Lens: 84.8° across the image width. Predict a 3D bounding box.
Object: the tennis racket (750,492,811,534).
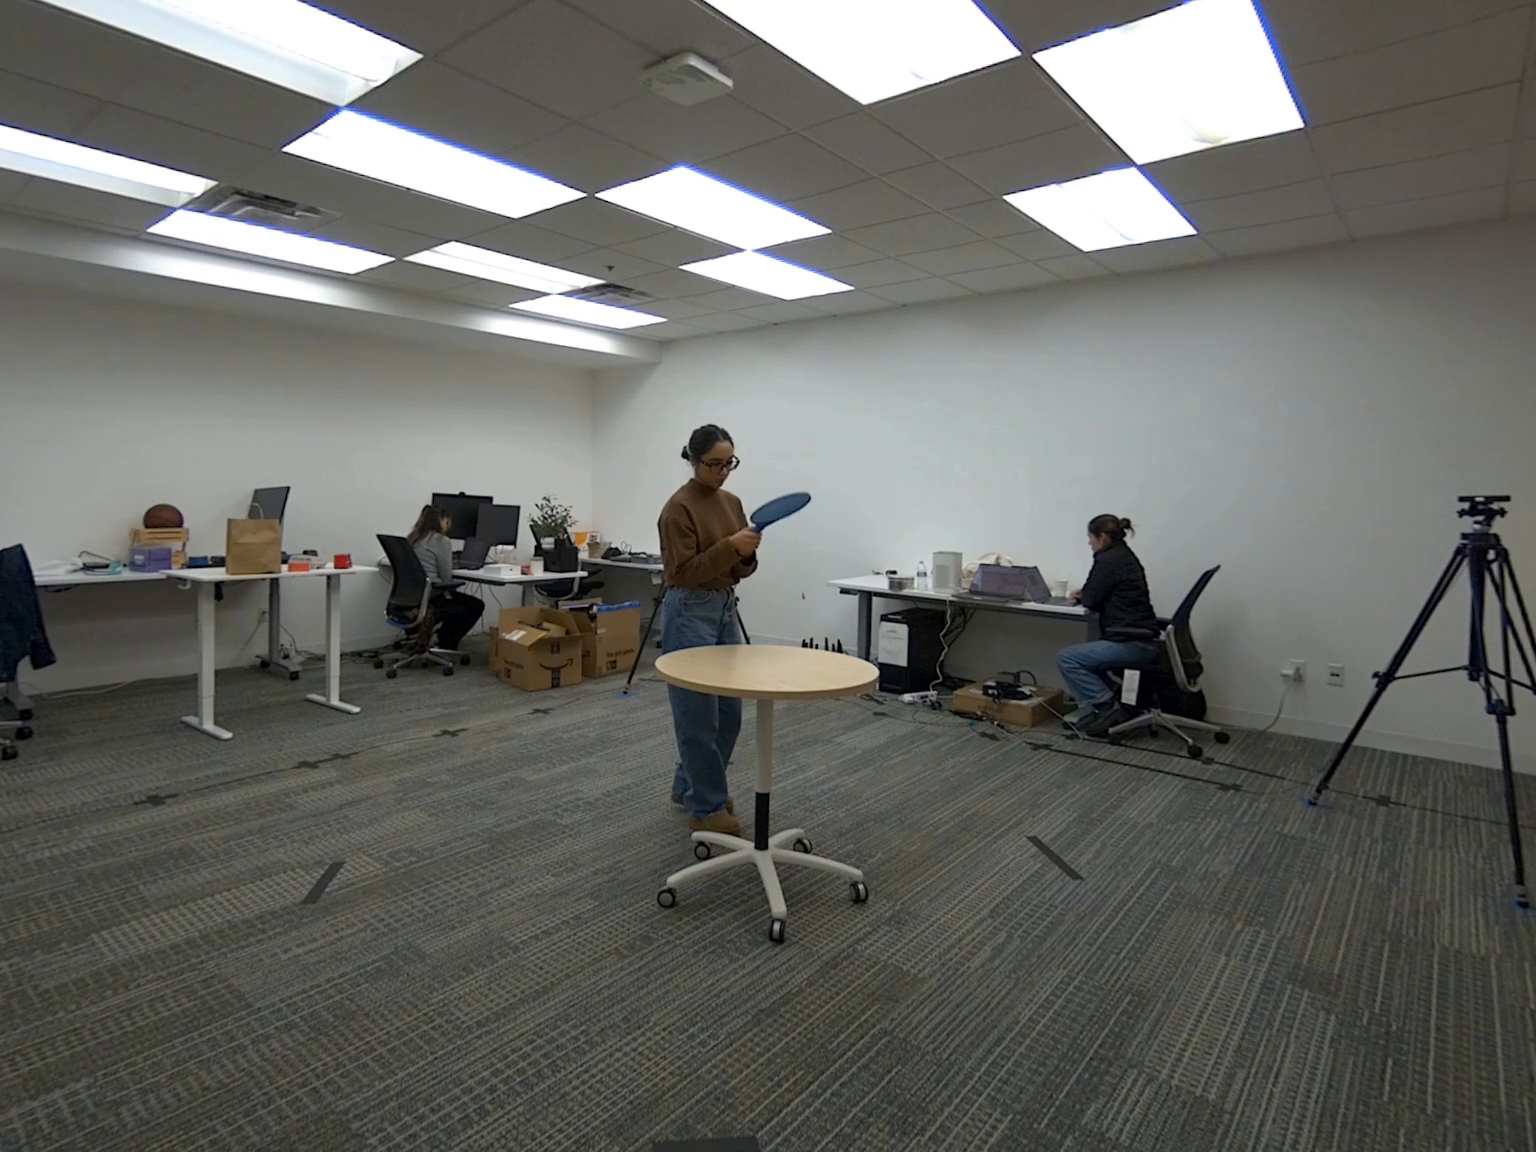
[{"bbox_3d":[-0.010,-0.212,3.093,0.209,0.032,0.434,-11,-13,-26],"label":"tennis racket"}]
